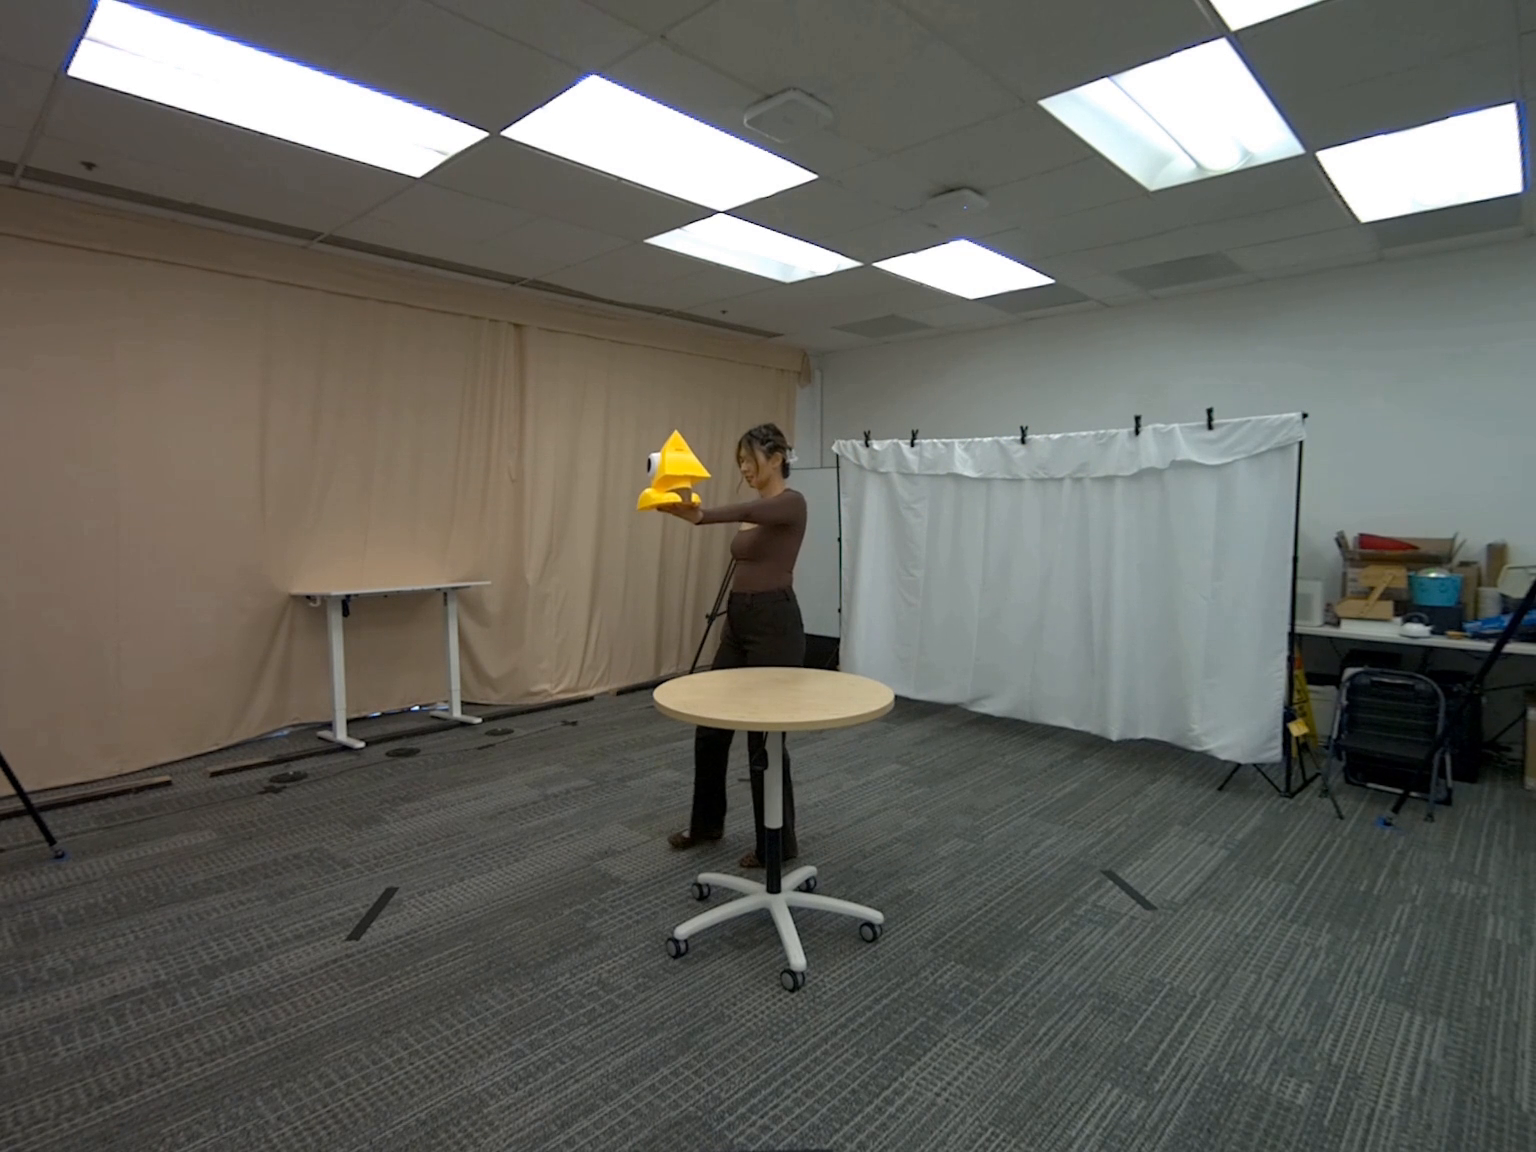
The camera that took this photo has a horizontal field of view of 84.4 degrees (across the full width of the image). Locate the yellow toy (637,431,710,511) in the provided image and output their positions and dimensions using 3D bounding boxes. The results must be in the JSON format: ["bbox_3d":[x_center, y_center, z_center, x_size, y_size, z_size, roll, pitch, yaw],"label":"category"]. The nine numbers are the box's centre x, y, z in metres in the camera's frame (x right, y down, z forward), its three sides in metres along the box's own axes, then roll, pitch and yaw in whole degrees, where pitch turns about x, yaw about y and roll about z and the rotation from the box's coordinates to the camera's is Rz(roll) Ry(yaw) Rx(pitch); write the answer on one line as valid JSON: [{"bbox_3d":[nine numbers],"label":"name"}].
[{"bbox_3d":[-0.318,-0.336,2.666,0.198,0.231,0.198,-11,-5,40],"label":"yellow toy"}]
